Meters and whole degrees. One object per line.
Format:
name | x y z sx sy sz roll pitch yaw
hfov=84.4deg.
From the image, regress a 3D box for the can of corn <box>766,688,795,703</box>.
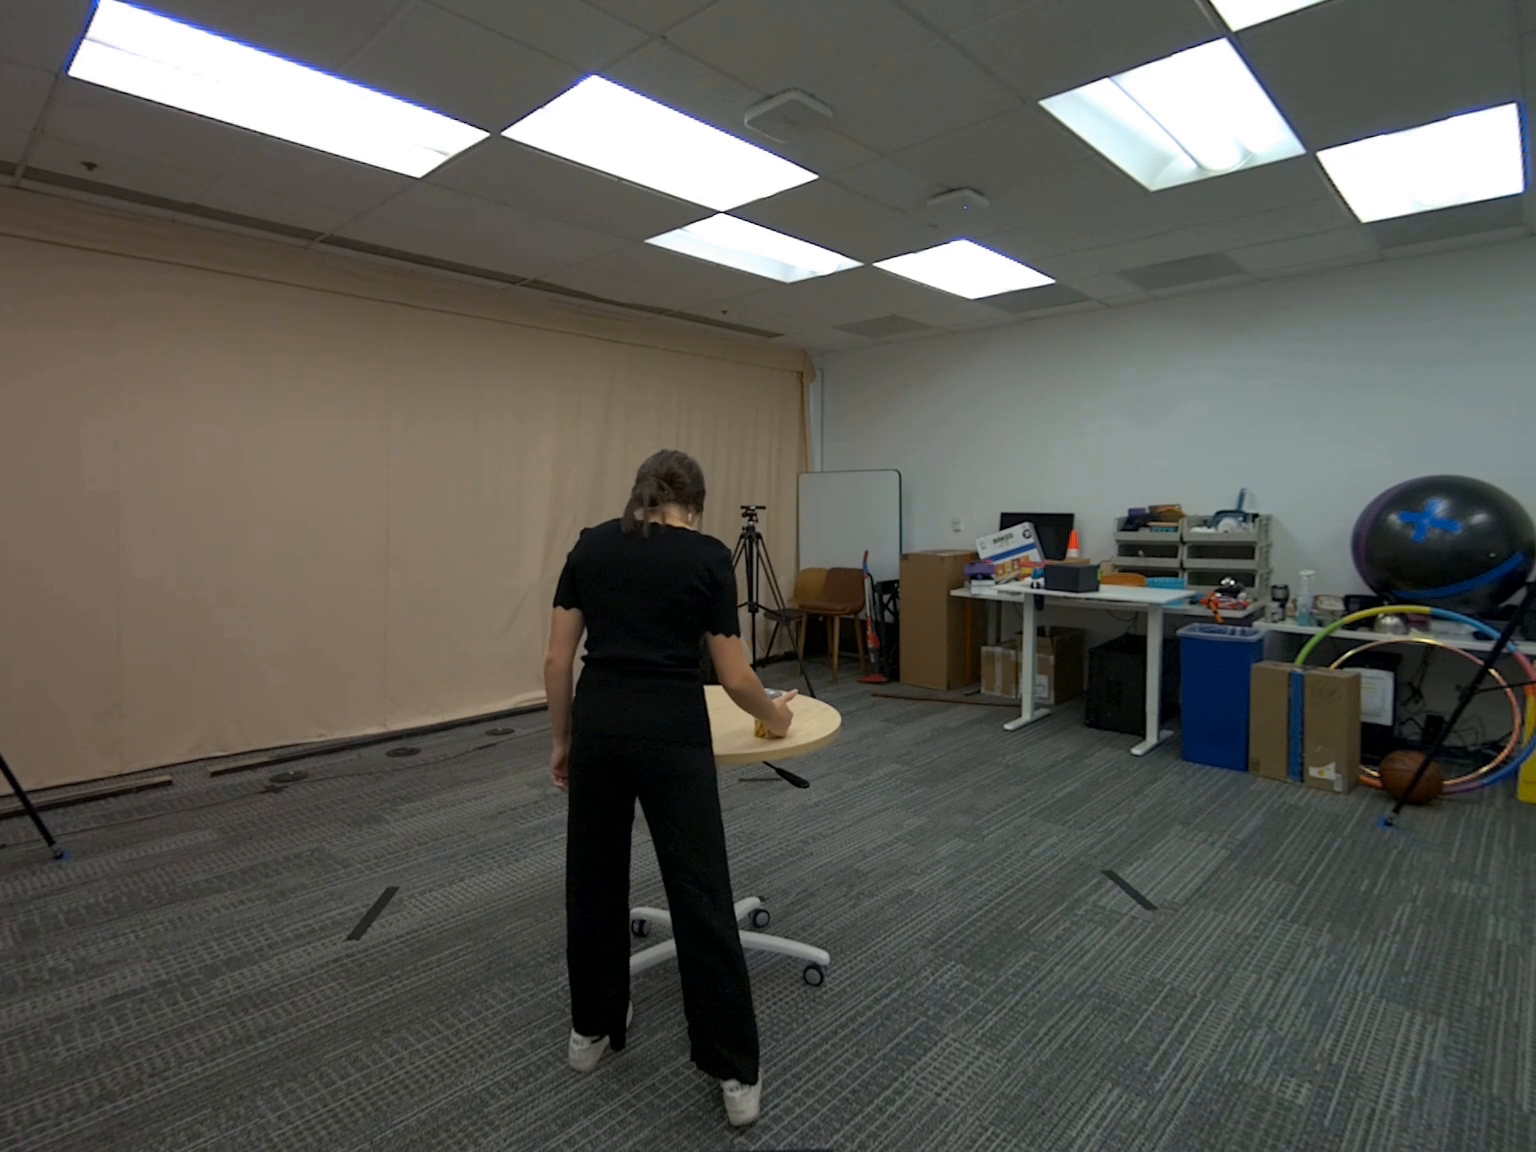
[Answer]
can of corn | 0.006 0.371 2.227 0.074 0.110 0.074 -2 6 -2
